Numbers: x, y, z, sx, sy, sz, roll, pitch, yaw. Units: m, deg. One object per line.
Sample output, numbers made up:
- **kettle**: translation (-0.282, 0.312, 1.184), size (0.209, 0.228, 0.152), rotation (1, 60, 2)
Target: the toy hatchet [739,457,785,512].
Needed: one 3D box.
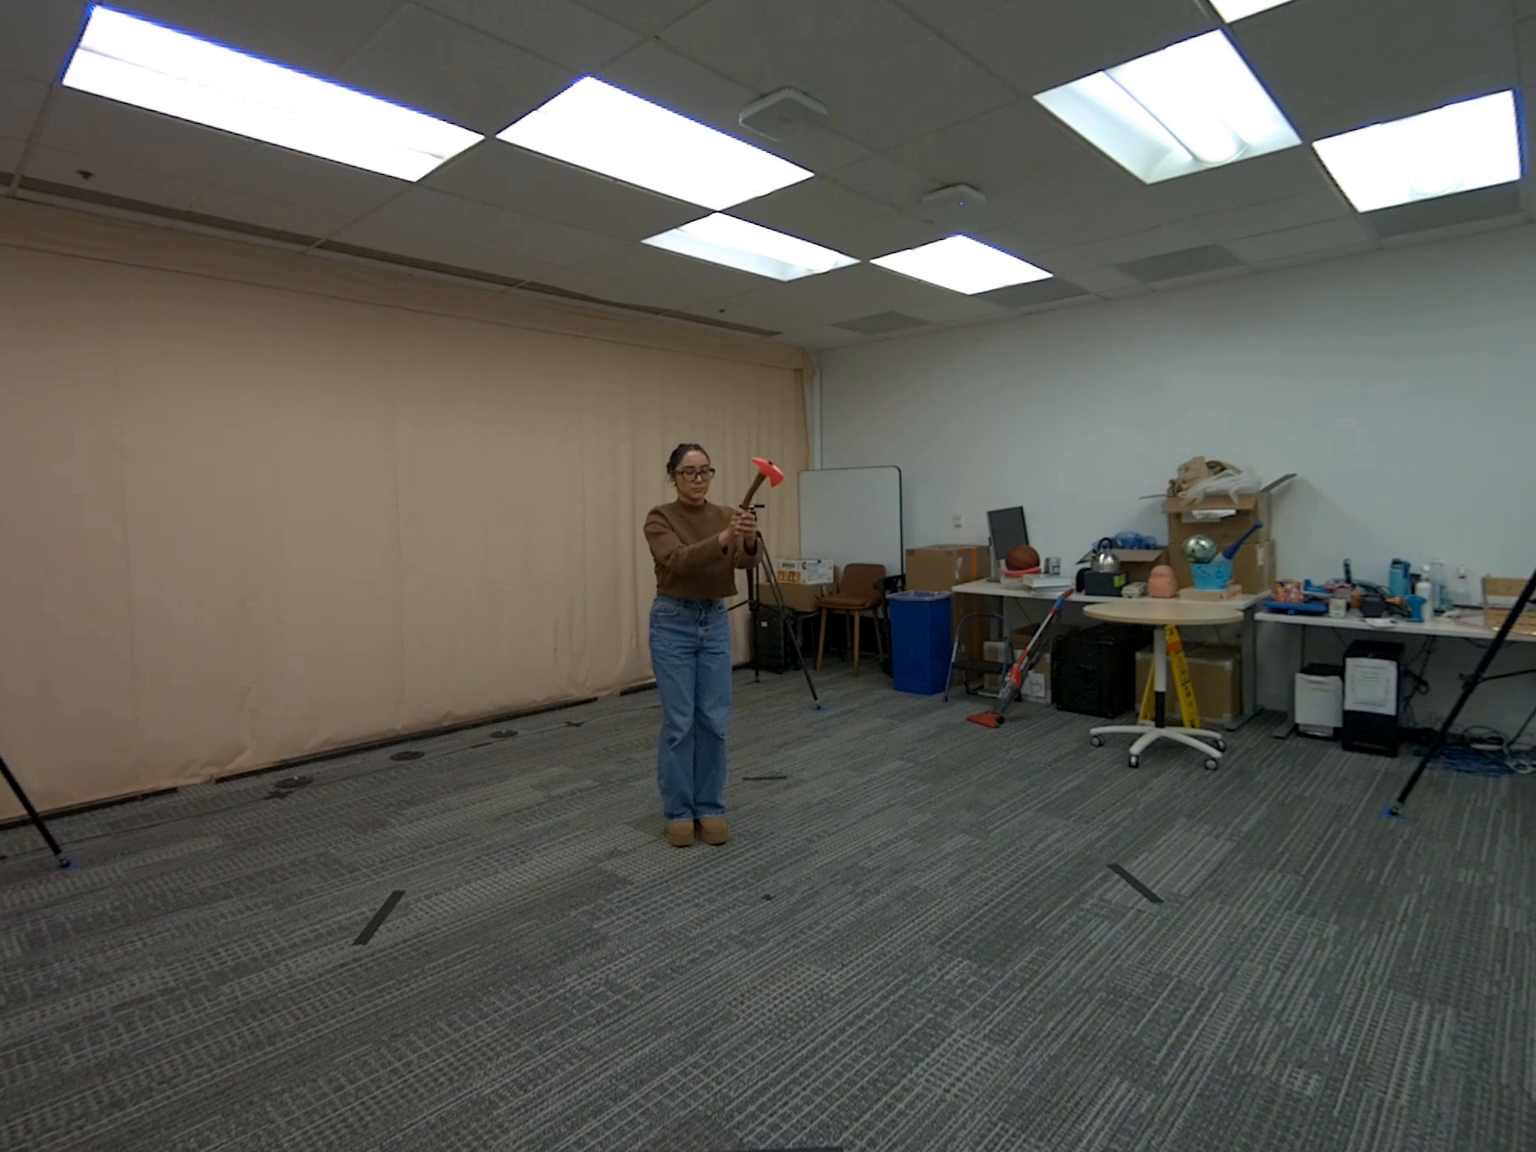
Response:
- **toy hatchet**: translation (-0.017, -0.286, 3.007), size (0.131, 0.268, 0.030), rotation (15, 24, 3)
